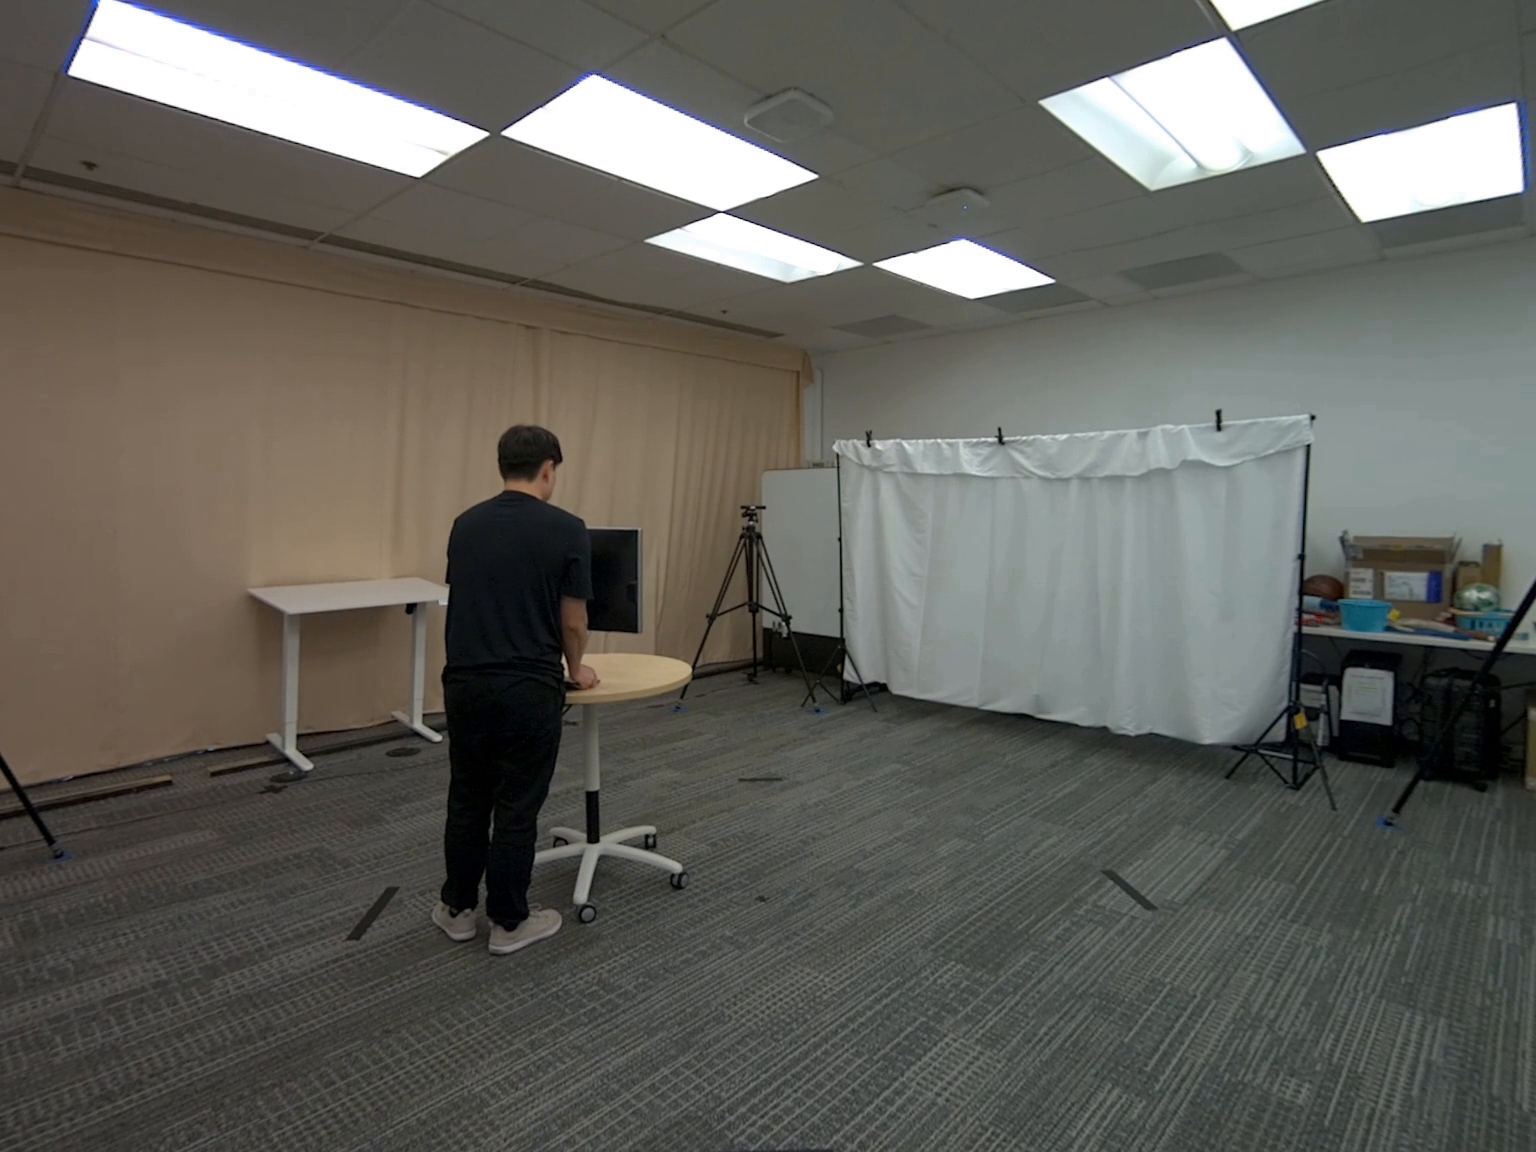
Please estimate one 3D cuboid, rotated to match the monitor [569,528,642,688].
[{"bbox_3d":[-0.712,0.094,2.926,0.550,0.524,0.182,1,-7,19],"label":"monitor"}]
